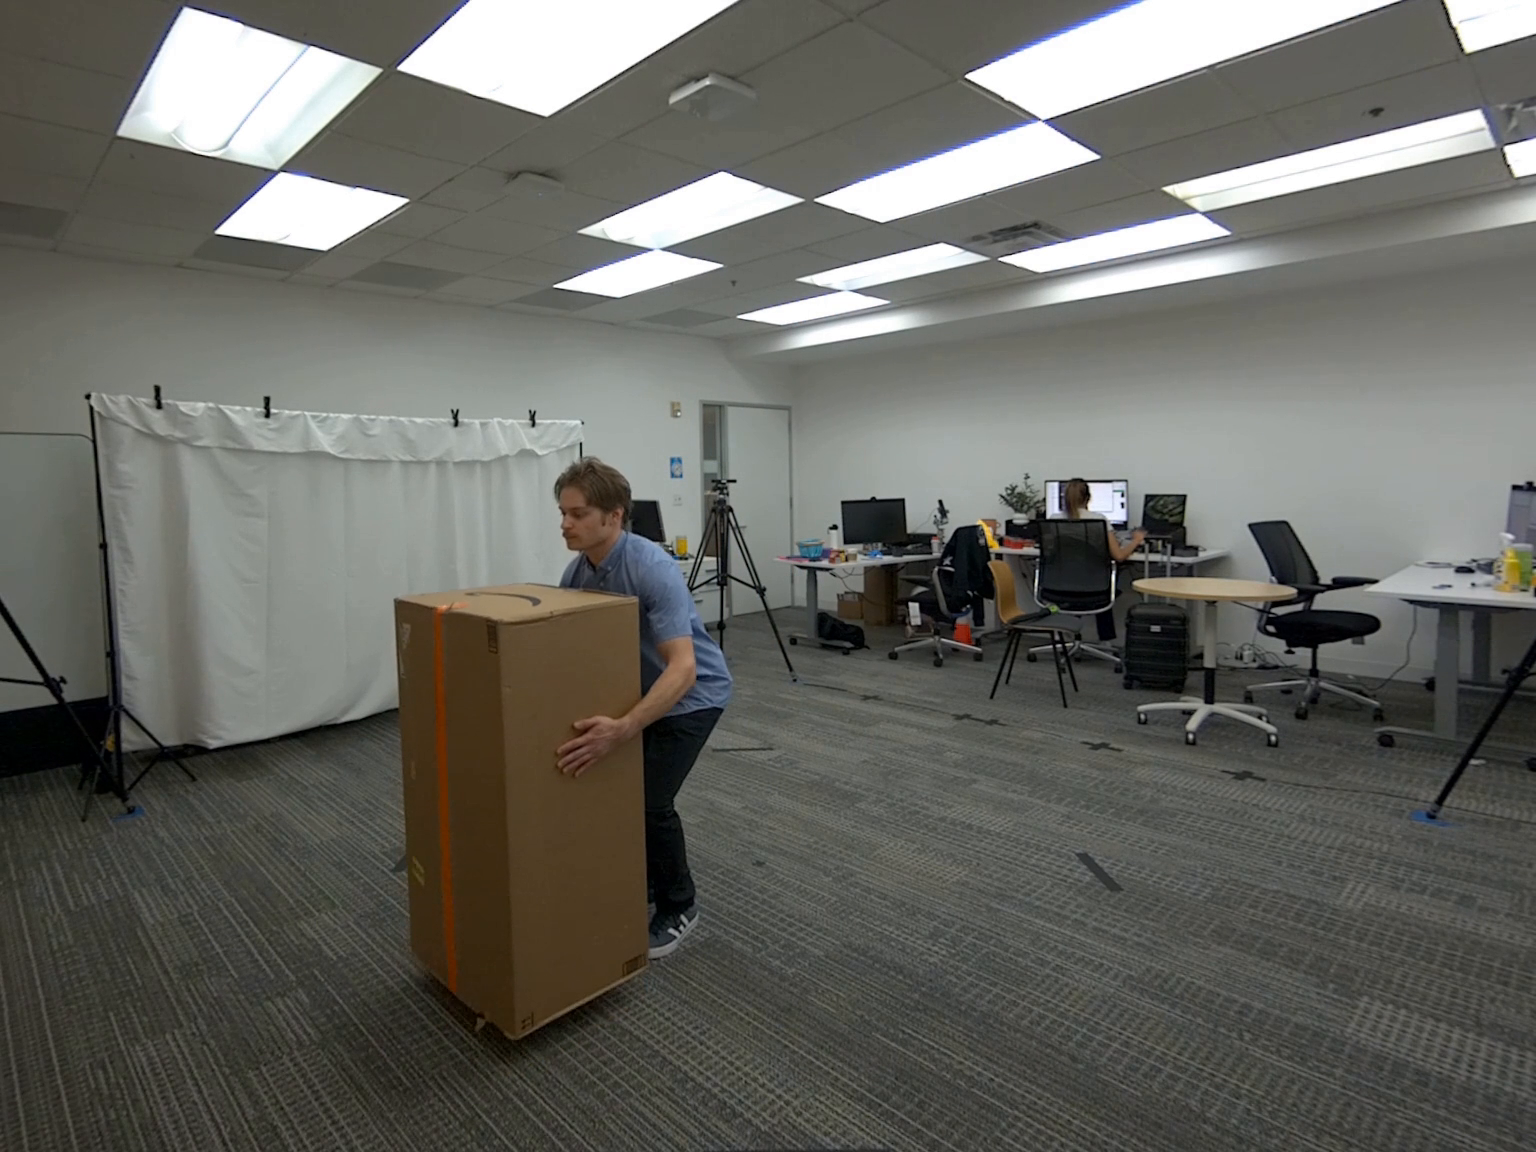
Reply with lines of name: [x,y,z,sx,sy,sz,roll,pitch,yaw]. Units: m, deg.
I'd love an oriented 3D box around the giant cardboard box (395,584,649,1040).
giant cardboard box: [-0.682,0.563,2.346,0.595,1.021,0.415,3,7,45]
